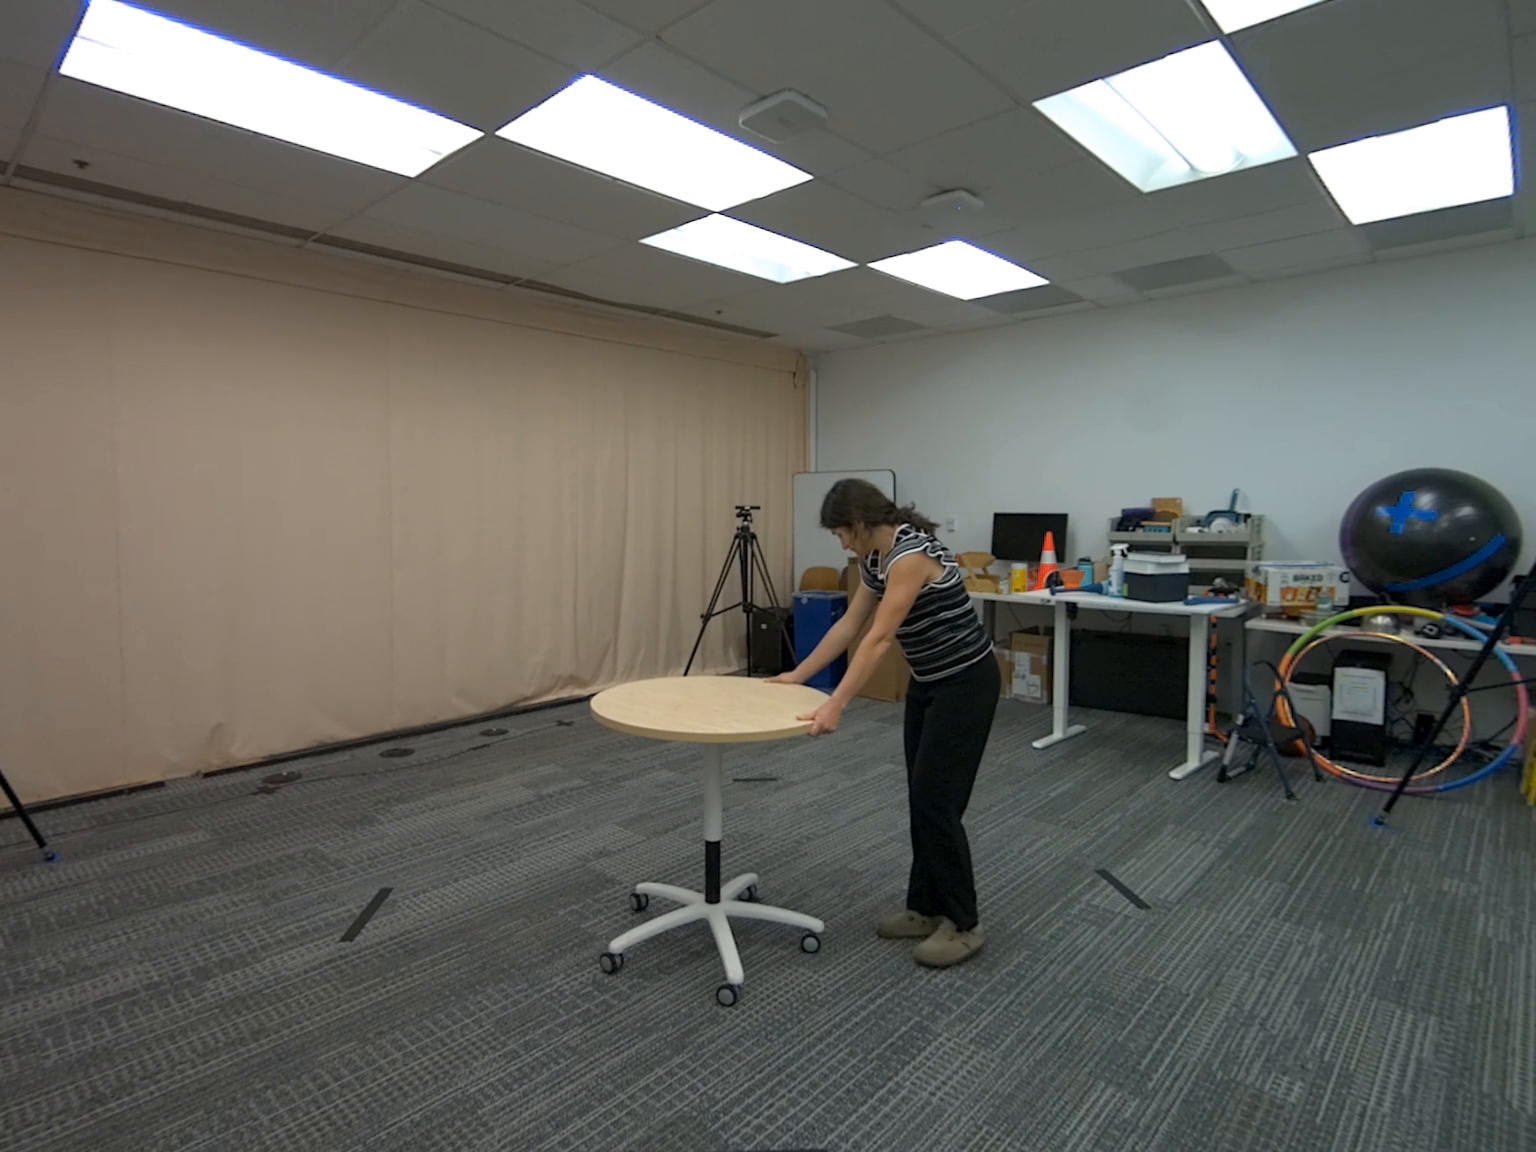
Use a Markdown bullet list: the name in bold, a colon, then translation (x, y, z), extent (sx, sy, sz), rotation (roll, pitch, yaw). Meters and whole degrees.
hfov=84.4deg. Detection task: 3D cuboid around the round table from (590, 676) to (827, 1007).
- **round table**: translation (-0.183, 0.788, 2.665), extent (0.763, 0.792, 0.766), rotation (1, 4, -2)
